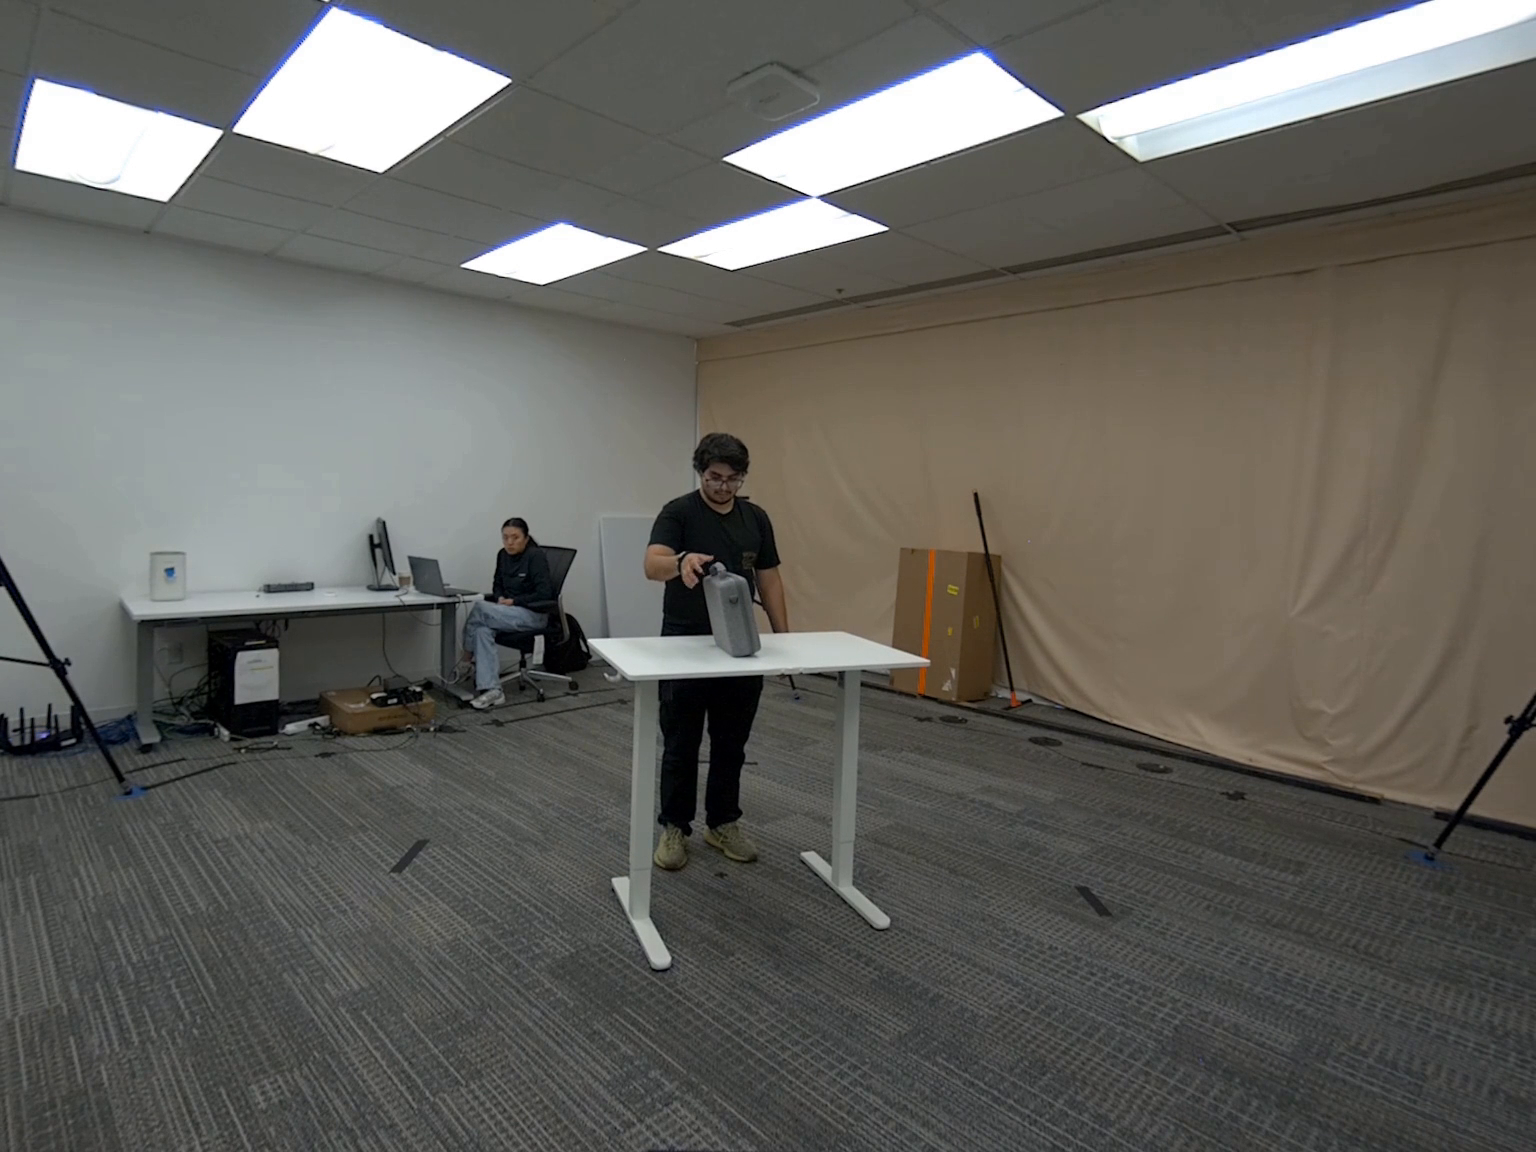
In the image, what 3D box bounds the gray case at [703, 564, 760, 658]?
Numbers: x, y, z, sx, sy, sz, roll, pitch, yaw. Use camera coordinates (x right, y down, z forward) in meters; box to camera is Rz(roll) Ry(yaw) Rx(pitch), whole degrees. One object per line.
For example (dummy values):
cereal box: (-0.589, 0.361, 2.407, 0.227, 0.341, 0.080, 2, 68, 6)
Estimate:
gray case: (-0.134, 0.117, 2.771, 0.103, 0.259, 0.261, -9, 8, -14)
